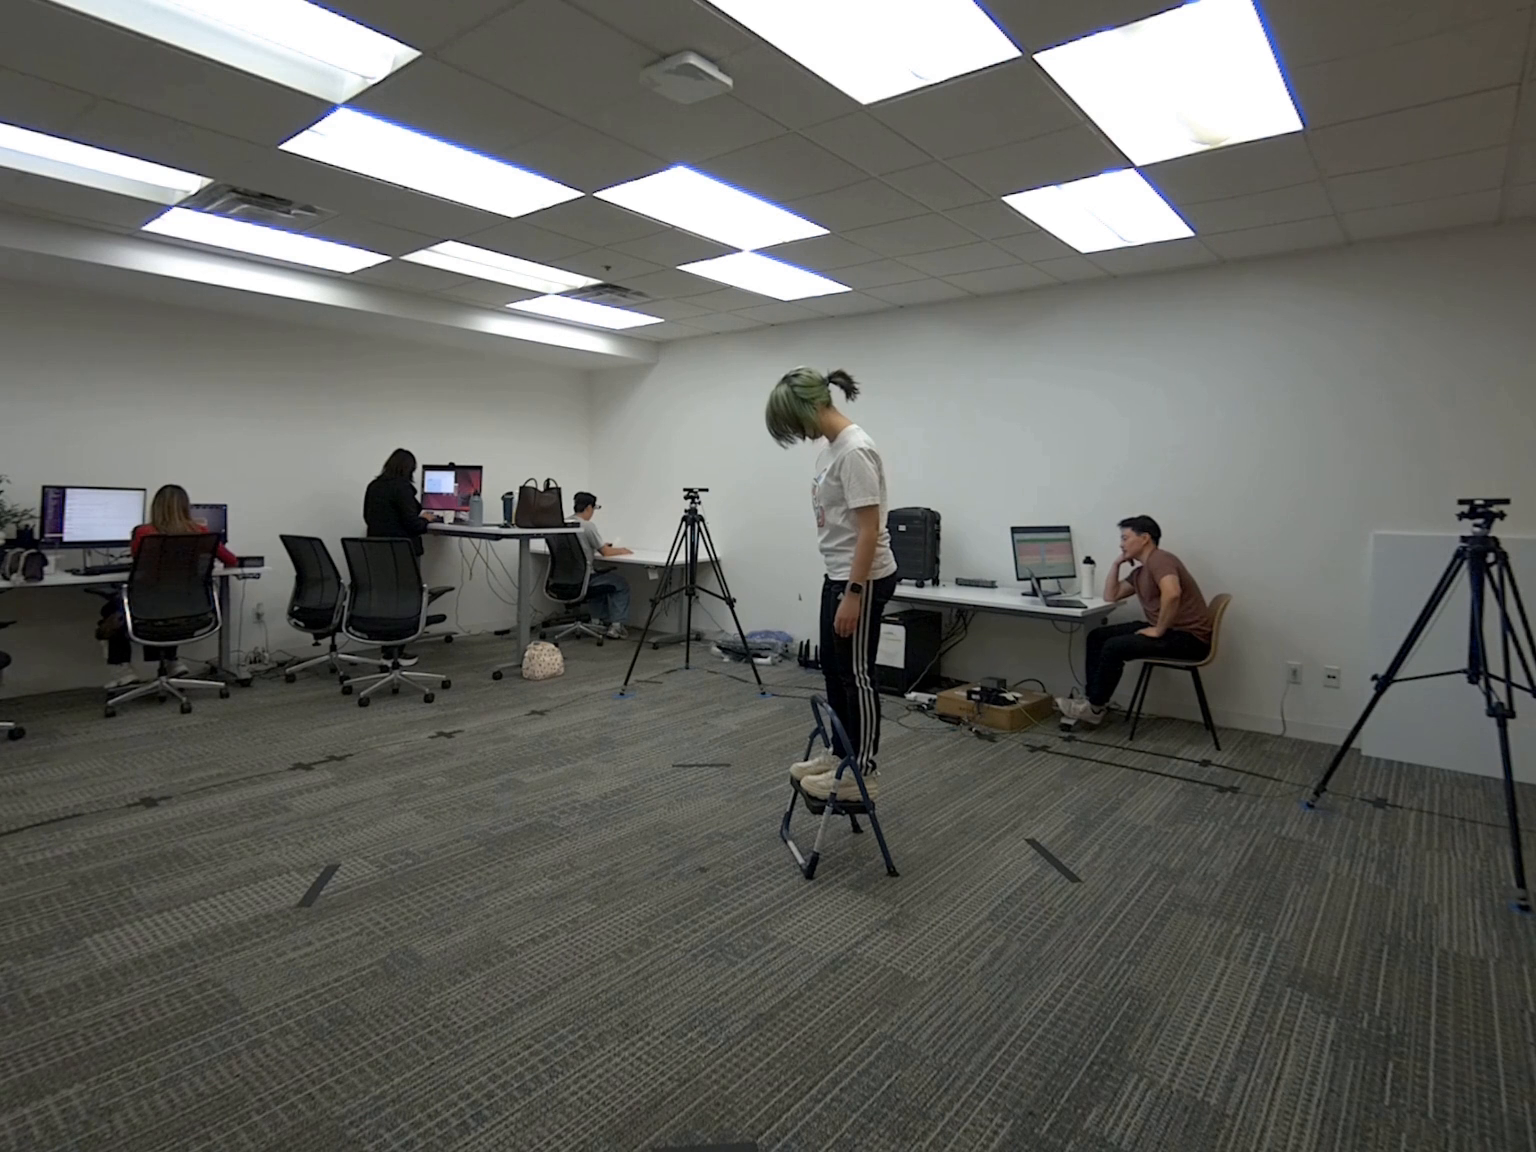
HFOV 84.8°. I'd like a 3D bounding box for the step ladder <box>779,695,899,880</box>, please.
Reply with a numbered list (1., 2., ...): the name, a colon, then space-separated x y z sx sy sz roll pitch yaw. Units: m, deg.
1. step ladder: 0.259 0.767 3.255 0.345 0.604 0.437 2 4 -12
